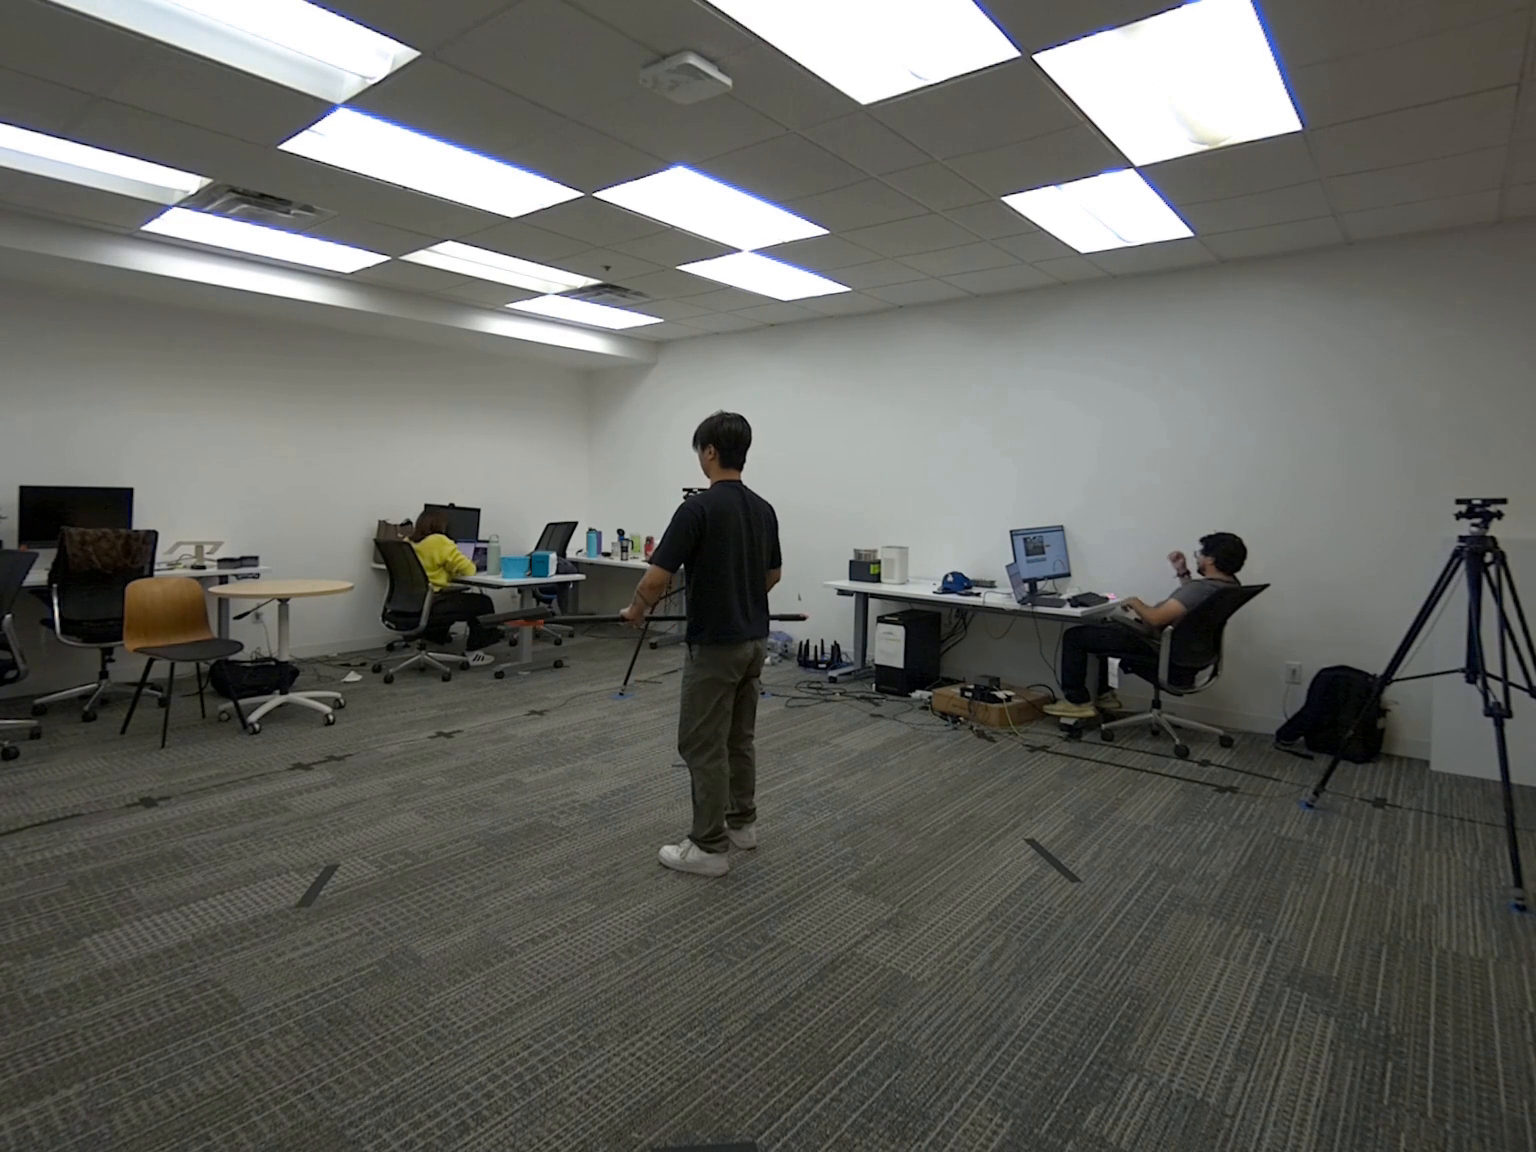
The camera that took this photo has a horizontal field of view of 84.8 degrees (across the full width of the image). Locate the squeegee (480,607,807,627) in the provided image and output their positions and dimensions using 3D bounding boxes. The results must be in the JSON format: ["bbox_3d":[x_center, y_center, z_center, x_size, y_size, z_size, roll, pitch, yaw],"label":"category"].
[{"bbox_3d":[-0.363,0.174,3.376,1.485,0.053,0.448,4,-13,-45],"label":"squeegee"}]
